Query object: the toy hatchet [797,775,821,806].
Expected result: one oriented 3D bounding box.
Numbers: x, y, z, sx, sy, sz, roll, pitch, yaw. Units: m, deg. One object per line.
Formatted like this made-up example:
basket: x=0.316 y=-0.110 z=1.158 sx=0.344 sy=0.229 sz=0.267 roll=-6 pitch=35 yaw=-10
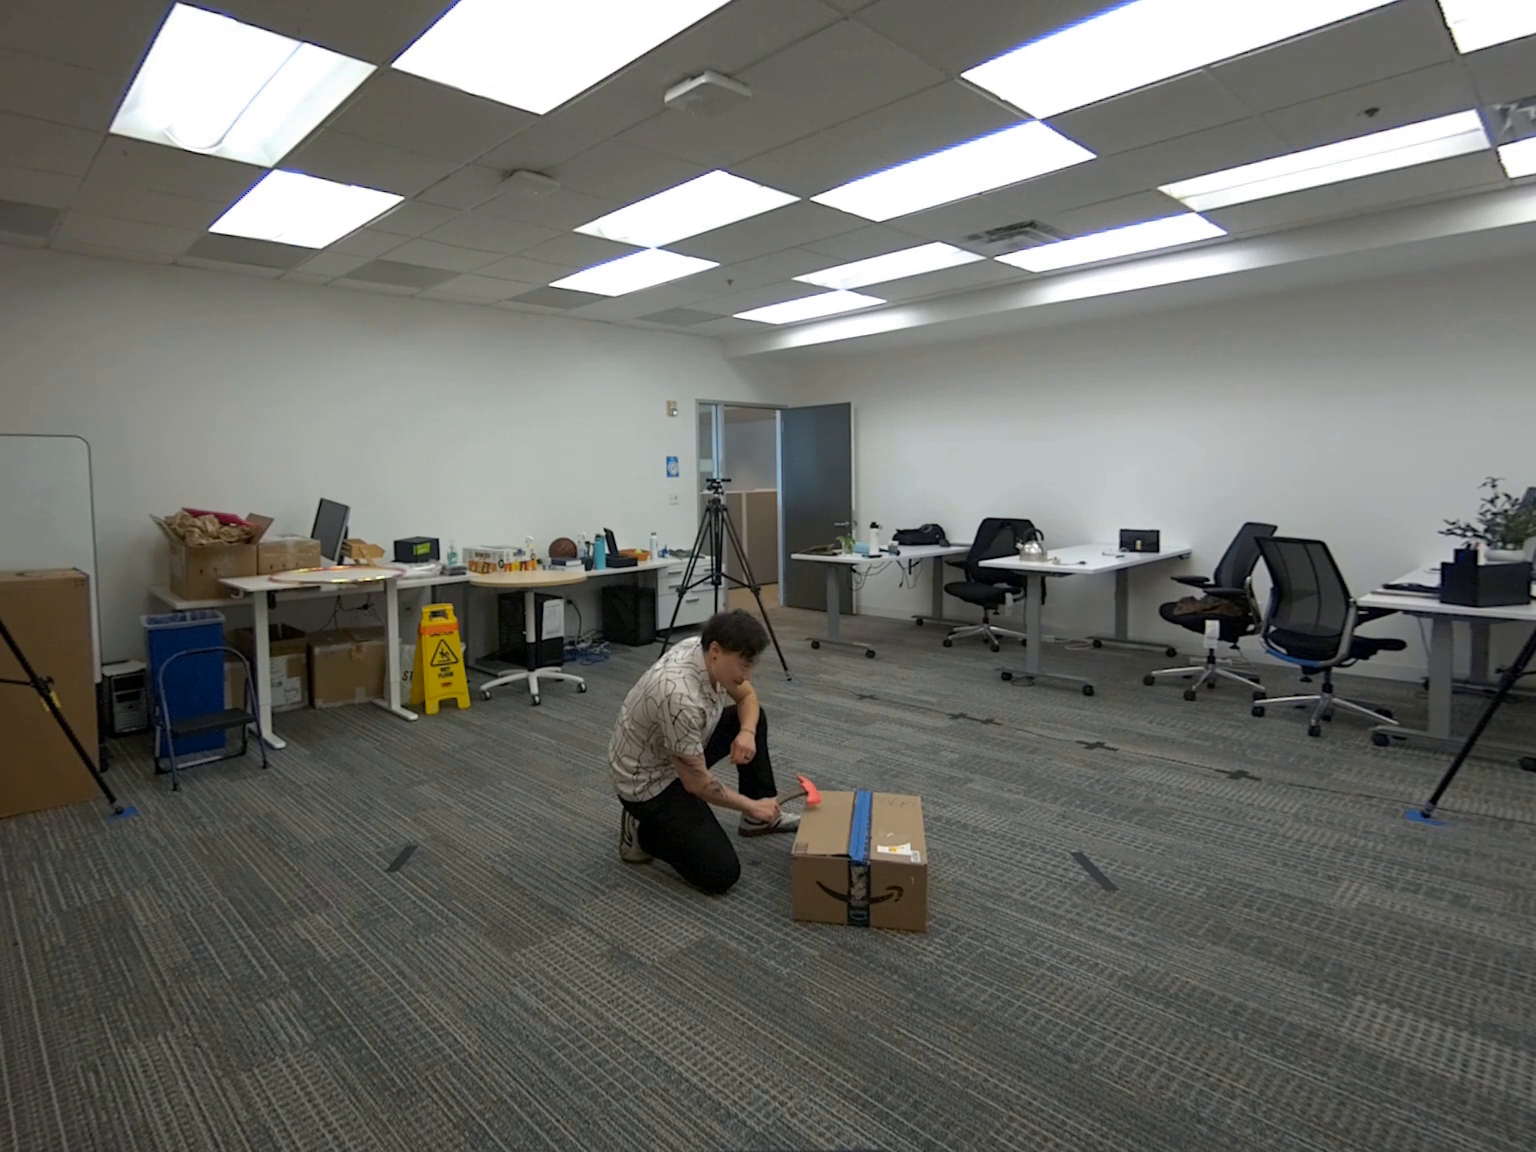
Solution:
toy hatchet: x=0.088 y=0.813 z=3.014 sx=0.135 sy=0.029 sz=0.267 roll=30 pitch=39 yaw=25
